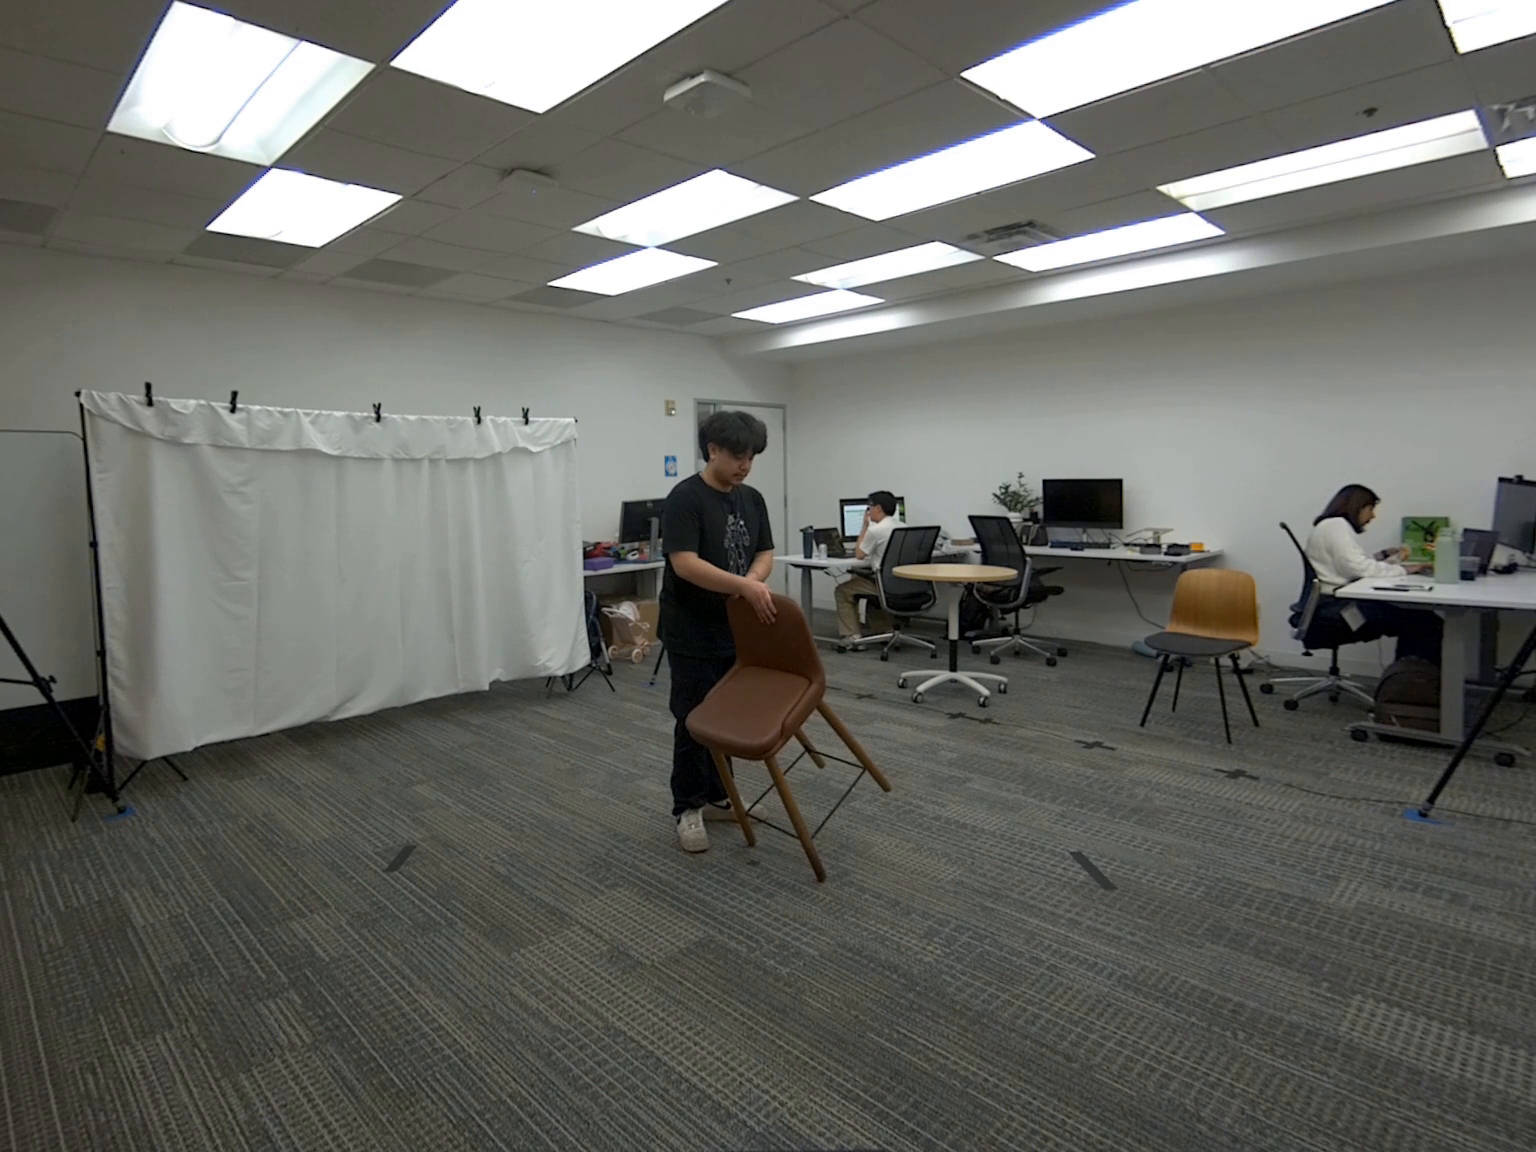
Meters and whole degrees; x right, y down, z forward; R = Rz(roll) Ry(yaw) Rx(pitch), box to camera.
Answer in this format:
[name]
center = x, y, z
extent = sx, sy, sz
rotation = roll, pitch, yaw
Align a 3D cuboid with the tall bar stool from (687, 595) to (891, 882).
[tall bar stool]
center = 0.033, 0.557, 3.051
extent = 0.465, 0.867, 0.470
rotation = -39, 26, -30
